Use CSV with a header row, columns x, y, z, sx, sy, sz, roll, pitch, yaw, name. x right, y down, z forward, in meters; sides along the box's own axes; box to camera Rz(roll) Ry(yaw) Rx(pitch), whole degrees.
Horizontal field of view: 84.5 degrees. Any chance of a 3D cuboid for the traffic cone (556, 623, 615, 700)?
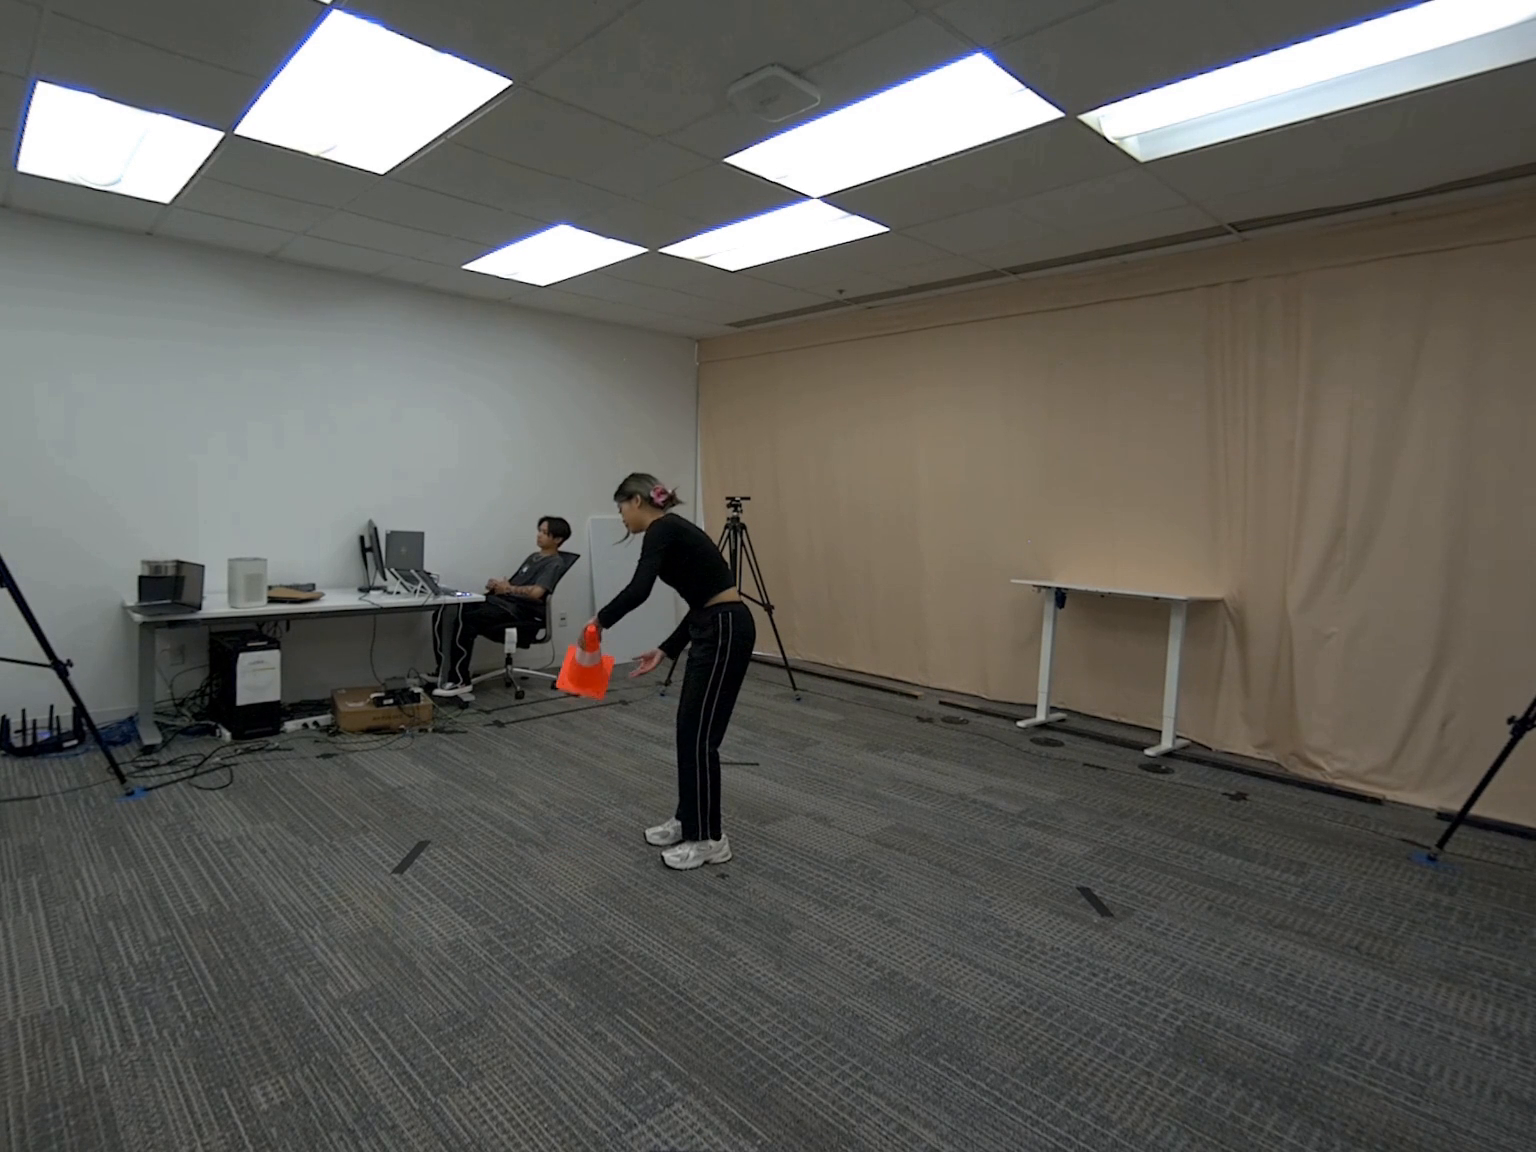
x,y,z,sx,sy,sz,roll,pitch,yaw,name
-0.699,0.298,3.306,0.201,0.209,0.380,8,-34,-12,traffic cone
